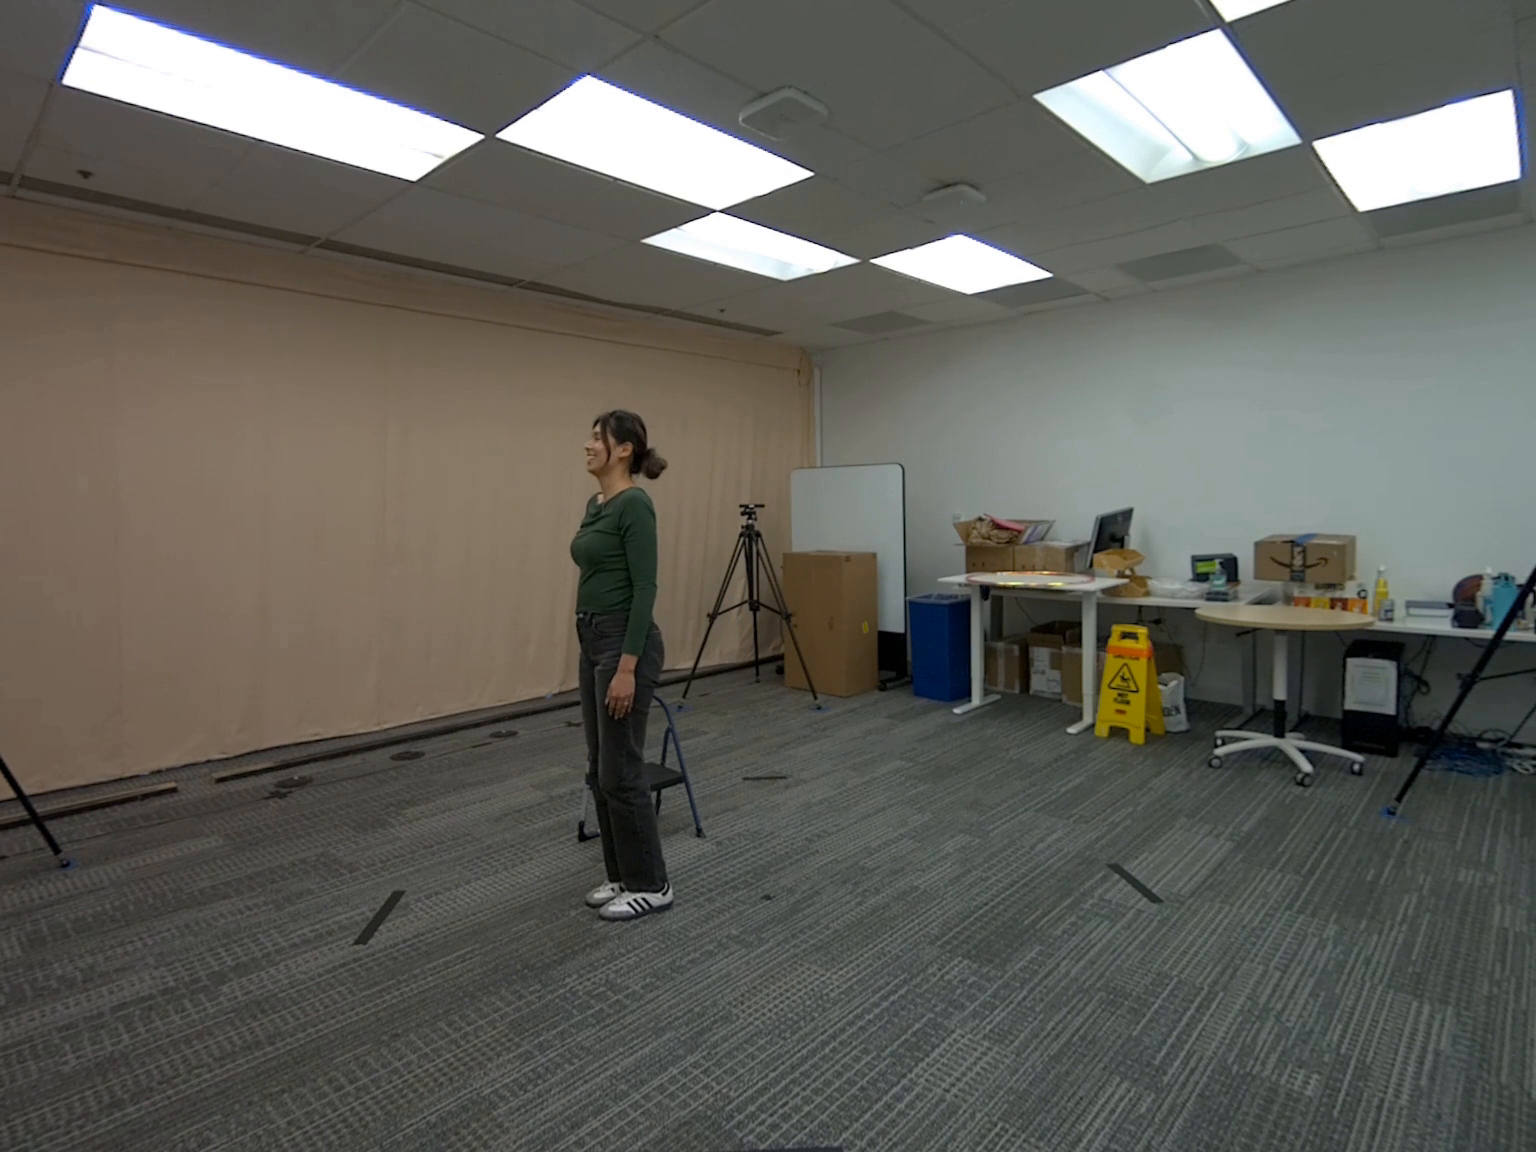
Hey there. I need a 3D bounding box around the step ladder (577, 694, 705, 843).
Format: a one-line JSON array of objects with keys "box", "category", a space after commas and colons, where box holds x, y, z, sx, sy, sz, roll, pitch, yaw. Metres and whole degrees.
[{"box": [-0.536, 0.804, 3.522, 0.417, 0.605, 0.361, -3, 4, -43], "category": "step ladder"}]
